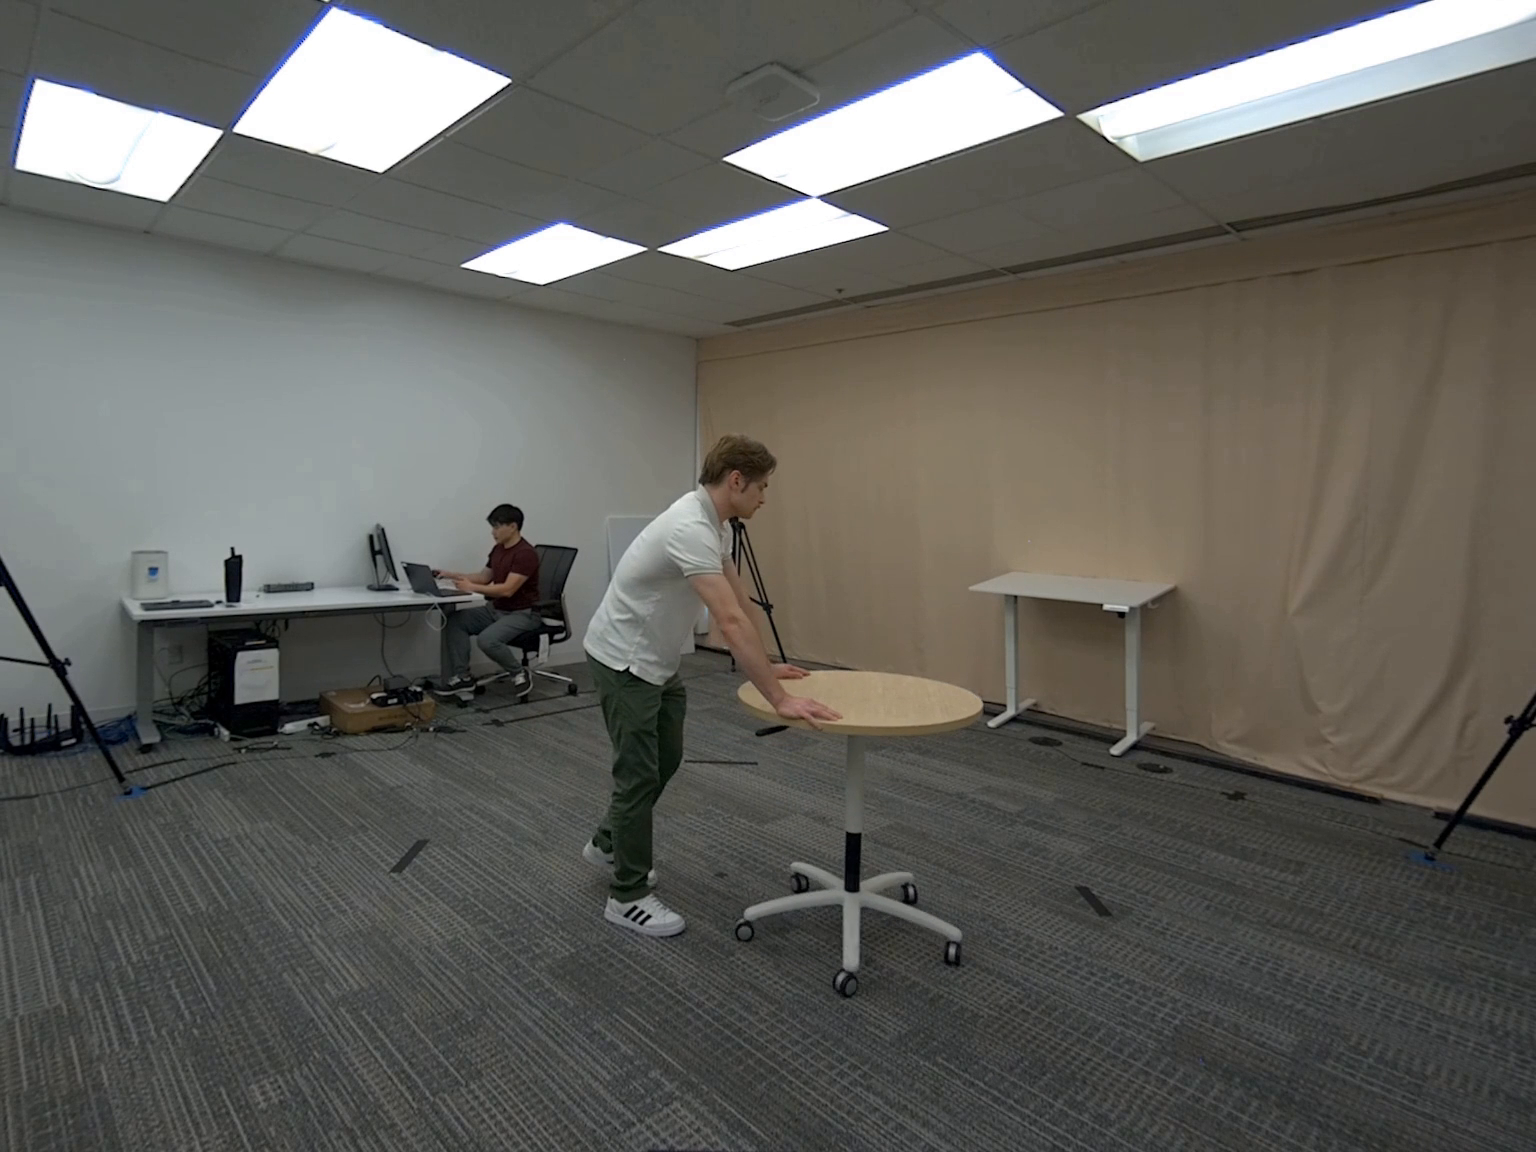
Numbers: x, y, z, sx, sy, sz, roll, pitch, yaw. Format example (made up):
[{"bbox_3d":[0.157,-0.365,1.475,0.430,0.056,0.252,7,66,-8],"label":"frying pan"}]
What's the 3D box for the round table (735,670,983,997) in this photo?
[{"bbox_3d":[0.272,0.764,2.694,0.763,0.792,0.767,1,4,-1],"label":"round table"}]
